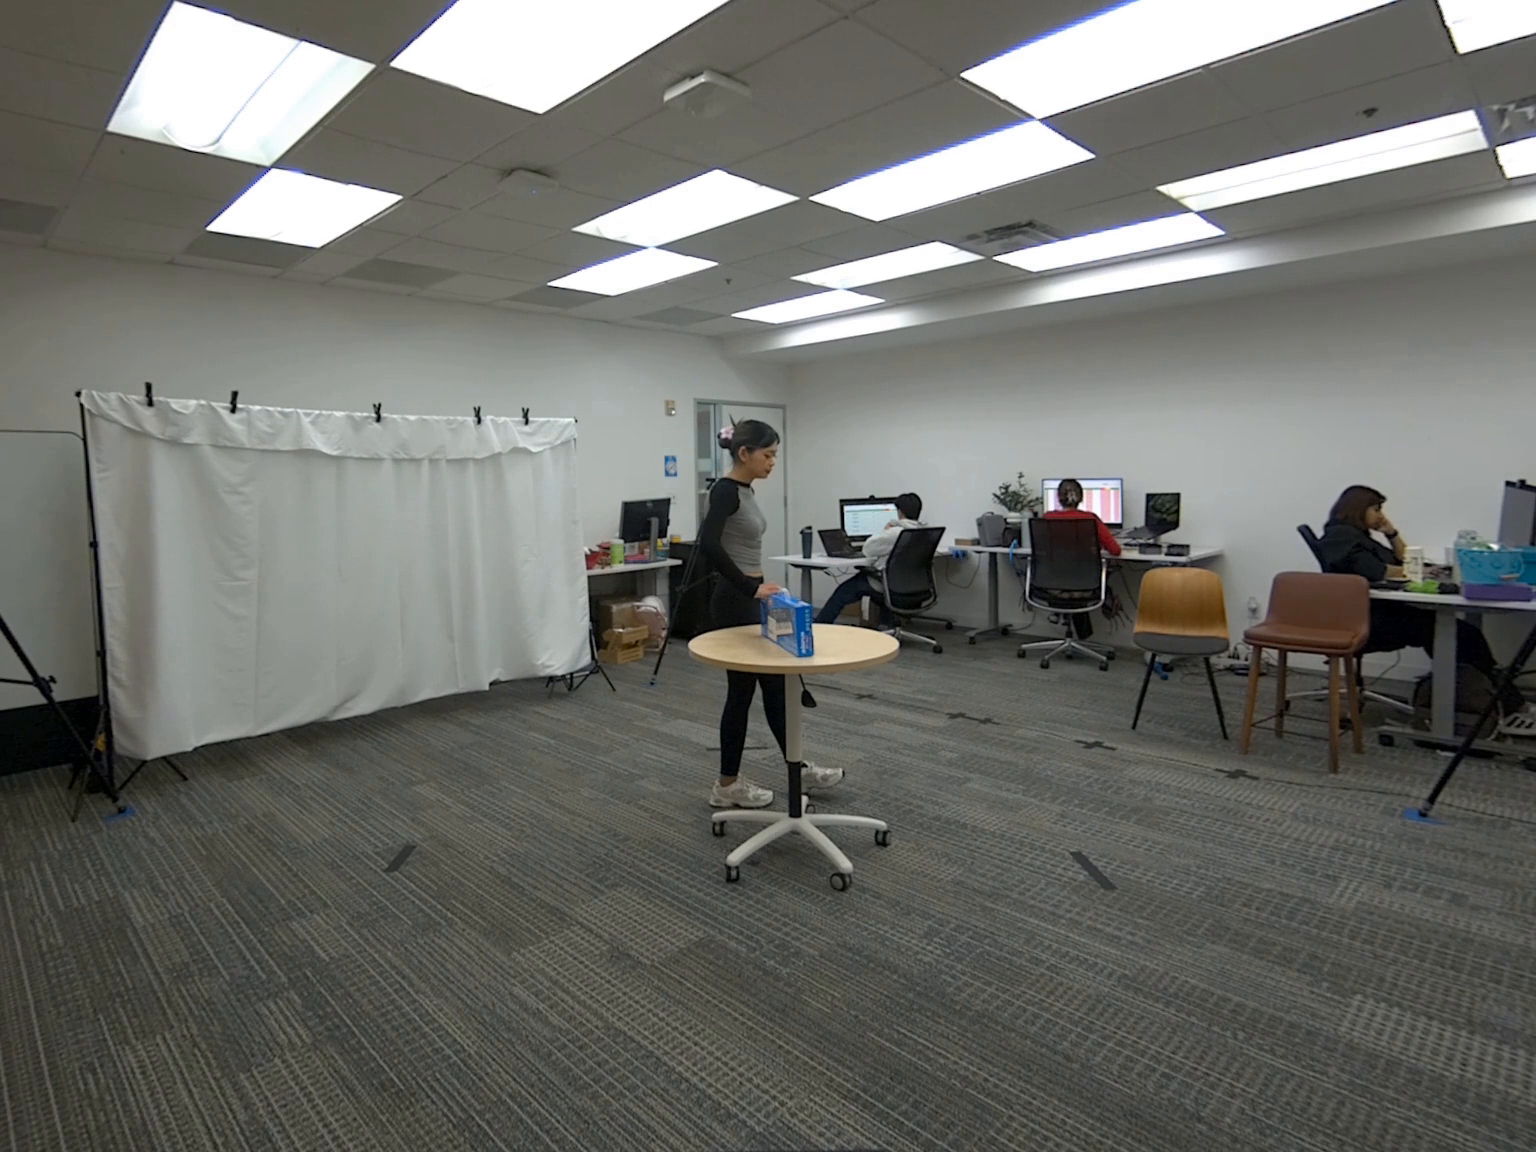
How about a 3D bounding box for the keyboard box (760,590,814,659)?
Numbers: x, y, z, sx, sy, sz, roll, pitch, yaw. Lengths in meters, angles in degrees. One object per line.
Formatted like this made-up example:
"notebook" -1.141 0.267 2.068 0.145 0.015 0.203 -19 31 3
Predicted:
"keyboard box" 0.060 0.167 3.080 0.058 0.175 0.444 -5 7 -14
